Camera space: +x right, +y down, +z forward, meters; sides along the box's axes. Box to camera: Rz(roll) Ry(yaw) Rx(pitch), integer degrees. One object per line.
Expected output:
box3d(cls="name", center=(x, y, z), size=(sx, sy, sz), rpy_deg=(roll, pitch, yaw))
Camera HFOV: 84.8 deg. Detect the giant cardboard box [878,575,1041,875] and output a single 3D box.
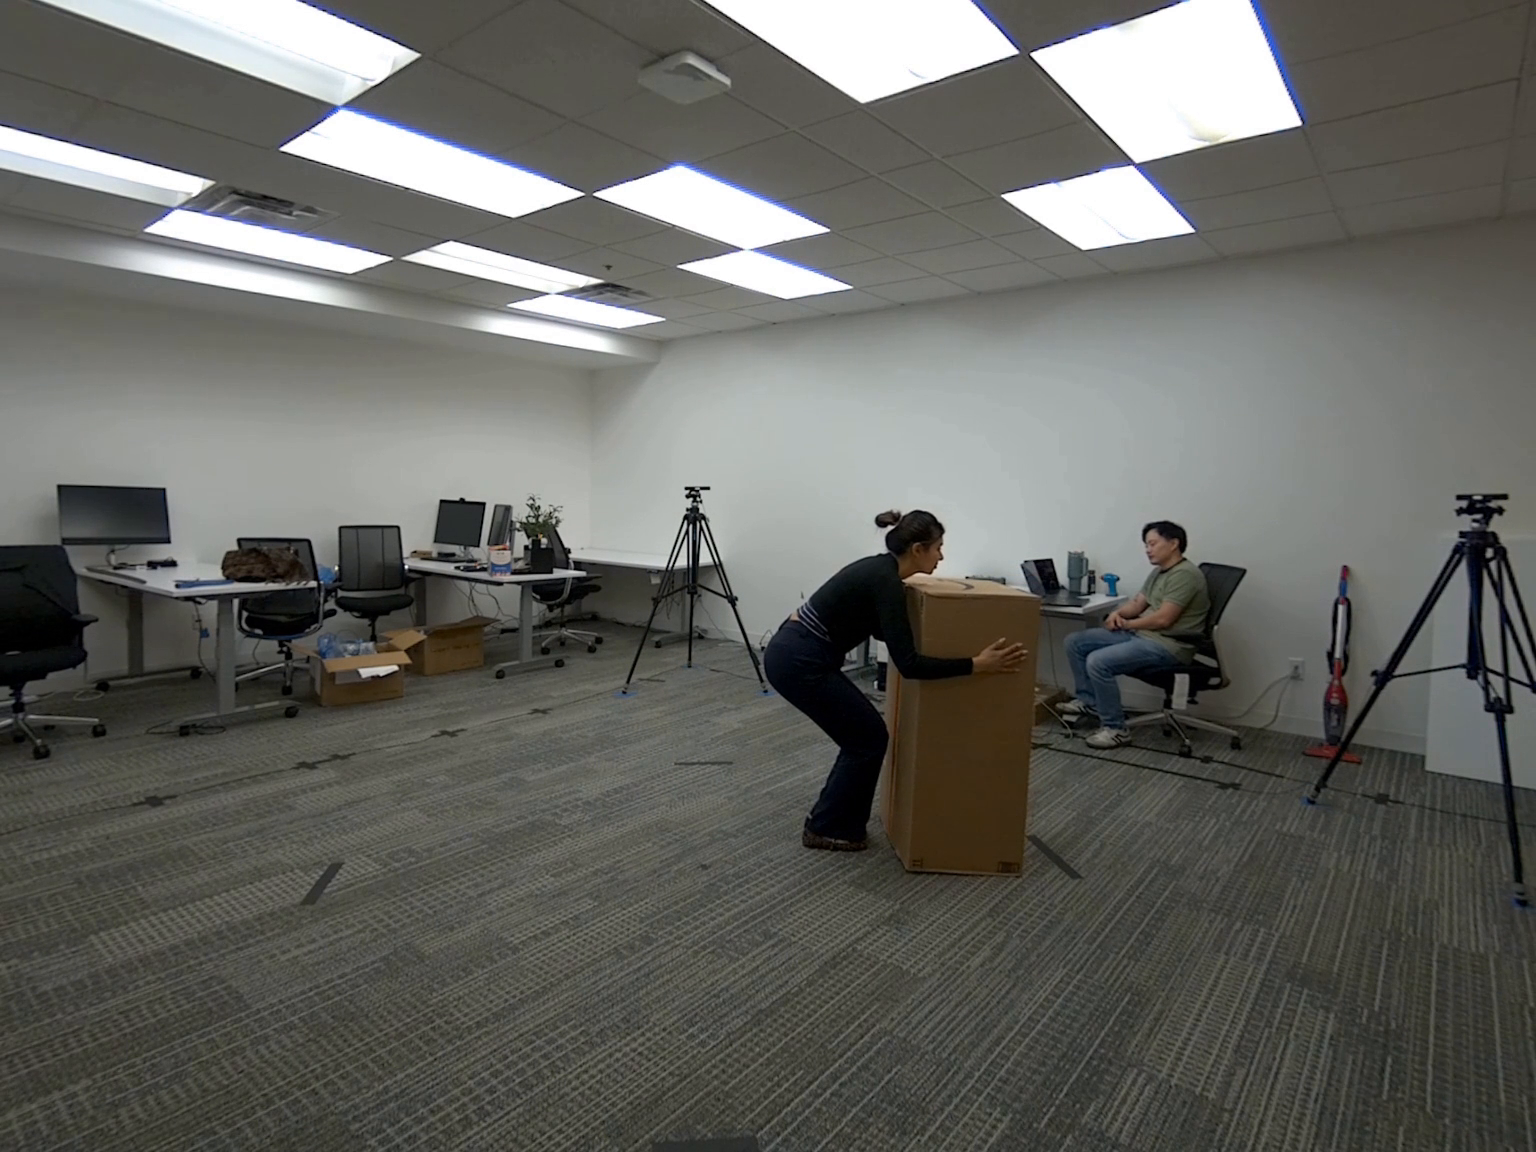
box3d(cls="giant cardboard box", center=(0.723, 0.545, 3.343), size=(0.425, 1.023, 0.581), rpy_deg=(3, 4, -3))
